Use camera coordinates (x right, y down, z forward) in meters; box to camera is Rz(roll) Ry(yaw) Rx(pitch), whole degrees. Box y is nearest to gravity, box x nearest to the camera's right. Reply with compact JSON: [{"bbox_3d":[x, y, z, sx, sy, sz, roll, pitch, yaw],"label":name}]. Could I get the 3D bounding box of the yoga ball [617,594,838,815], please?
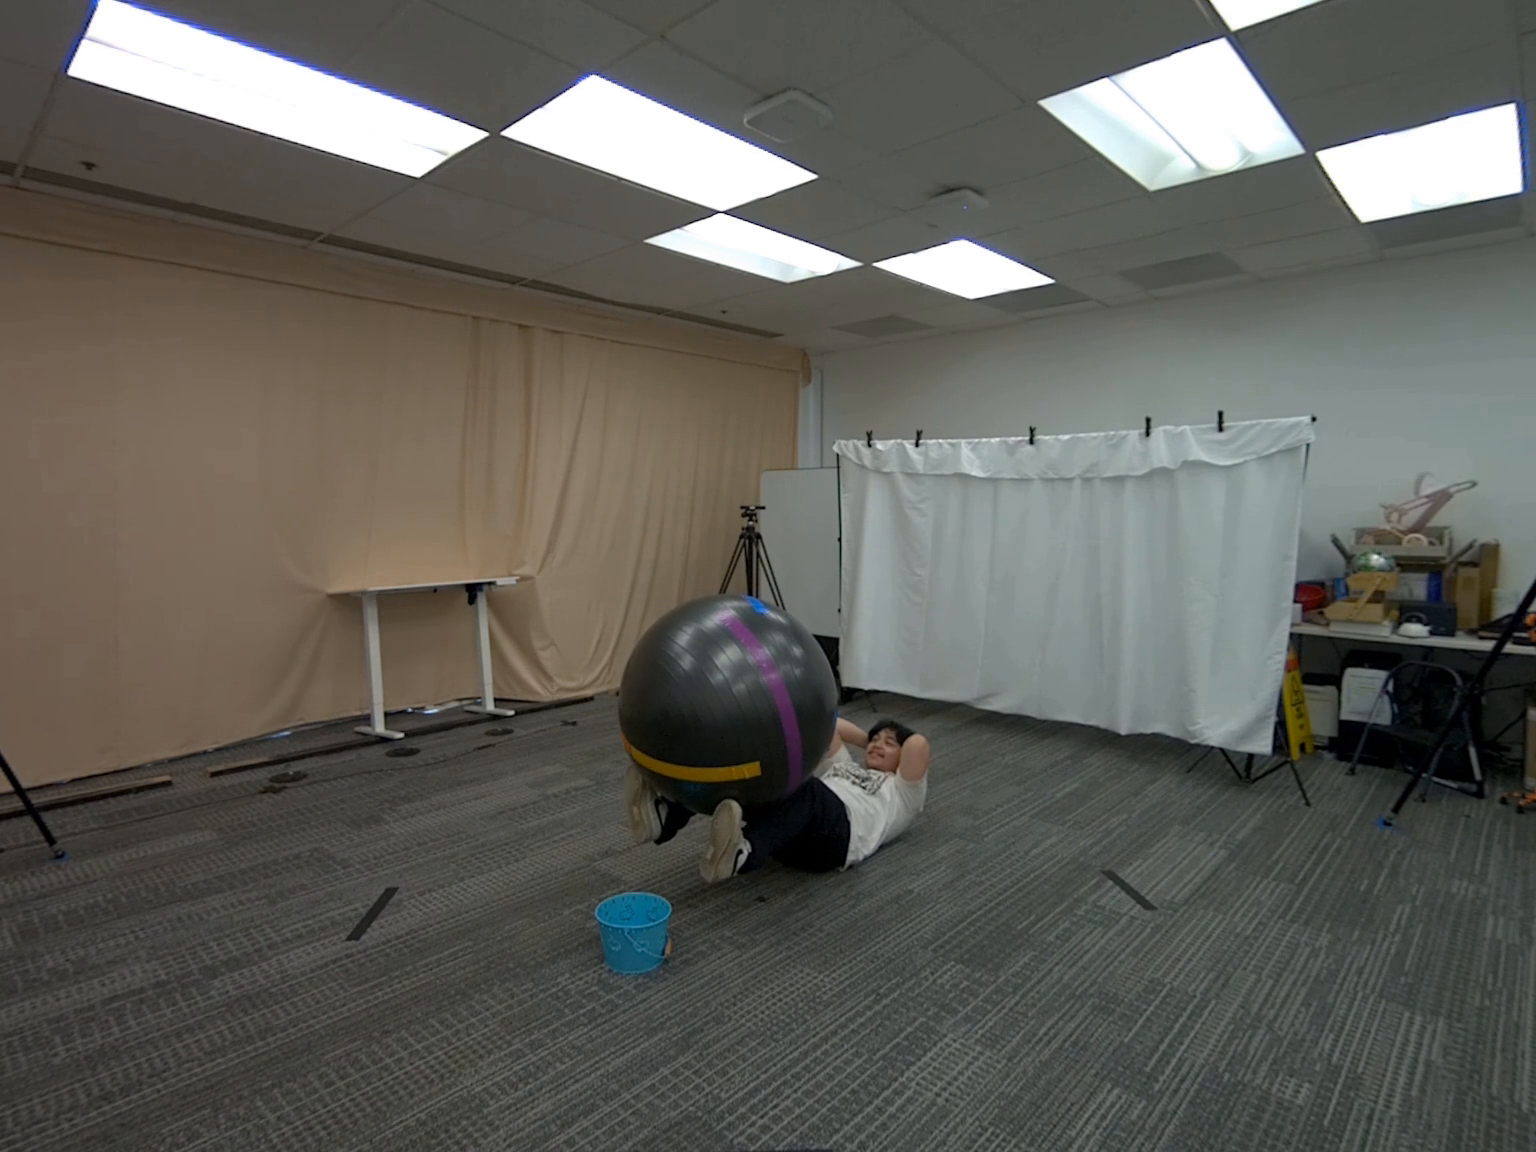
[{"bbox_3d":[-0.140,0.440,2.931,0.757,0.756,0.760,0,4,-2],"label":"yoga ball"}]
